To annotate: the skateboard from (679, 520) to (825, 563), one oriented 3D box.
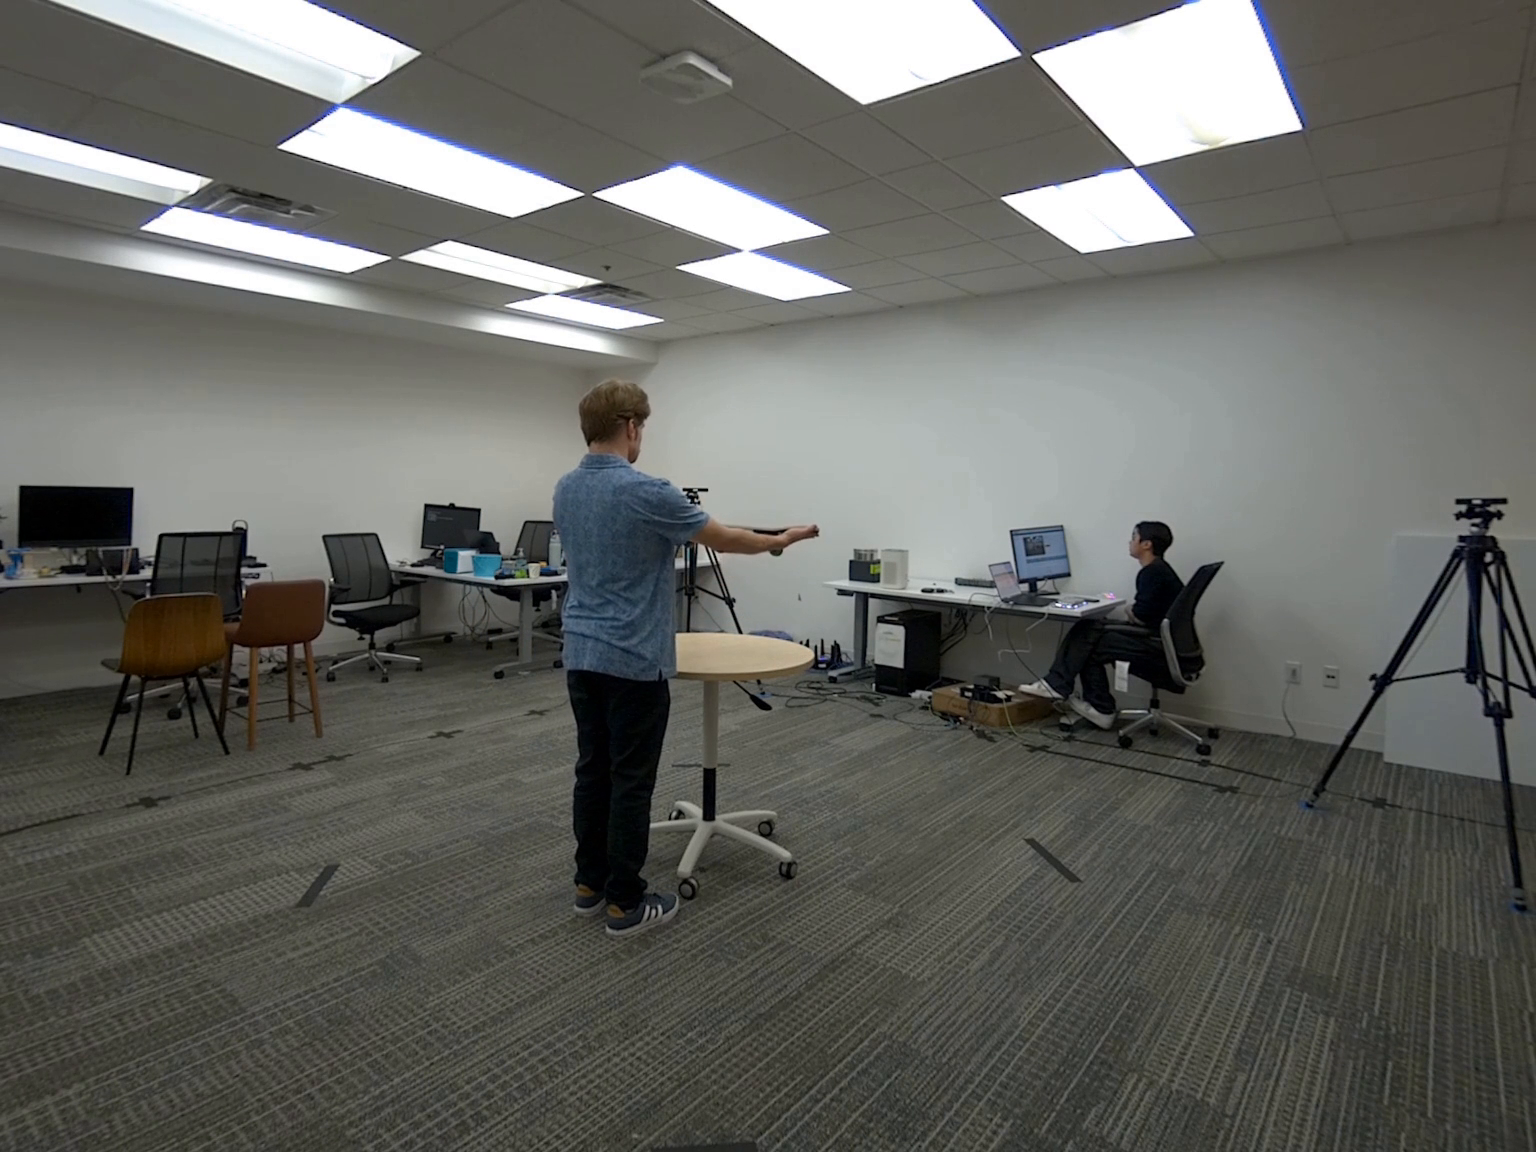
[{"bbox_3d":[-0.190,-0.145,3.122,0.811,0.110,0.187,6,0,35],"label":"skateboard"}]
